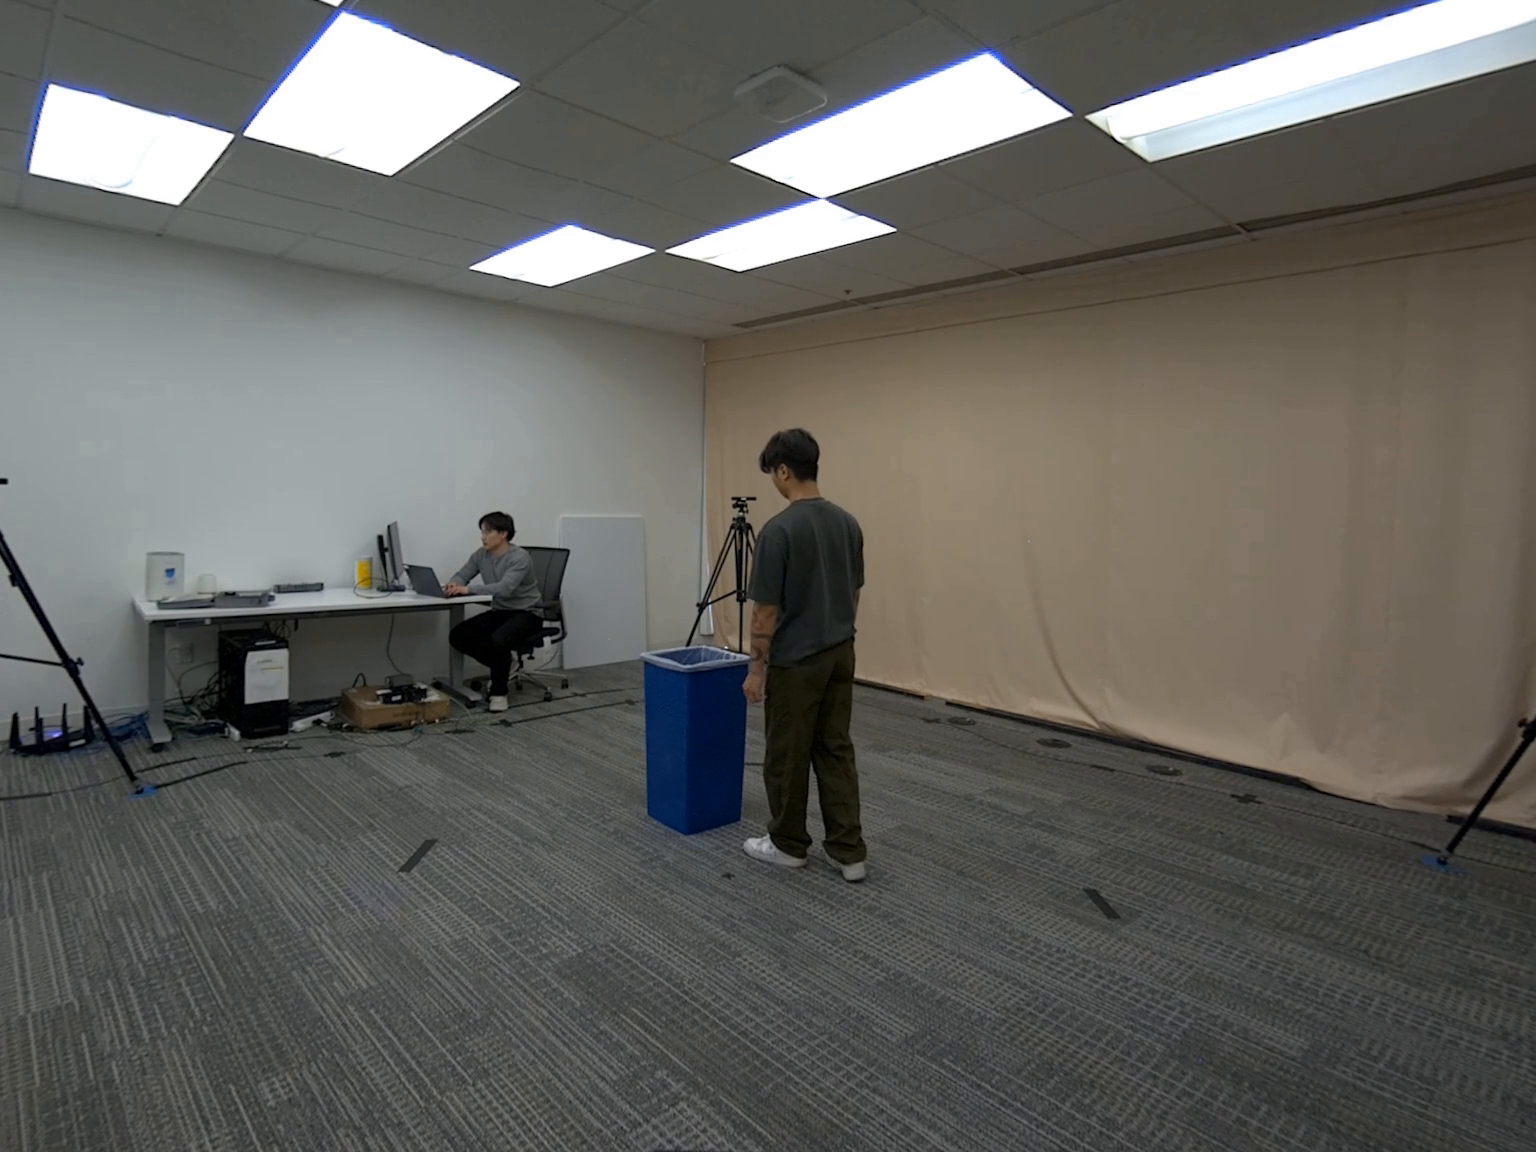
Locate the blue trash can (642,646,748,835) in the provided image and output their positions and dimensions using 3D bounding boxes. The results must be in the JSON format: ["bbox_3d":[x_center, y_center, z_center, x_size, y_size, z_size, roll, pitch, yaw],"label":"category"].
[{"bbox_3d":[-0.318,0.697,3.654,0.369,0.712,0.383,-2,4,-42],"label":"blue trash can"}]
